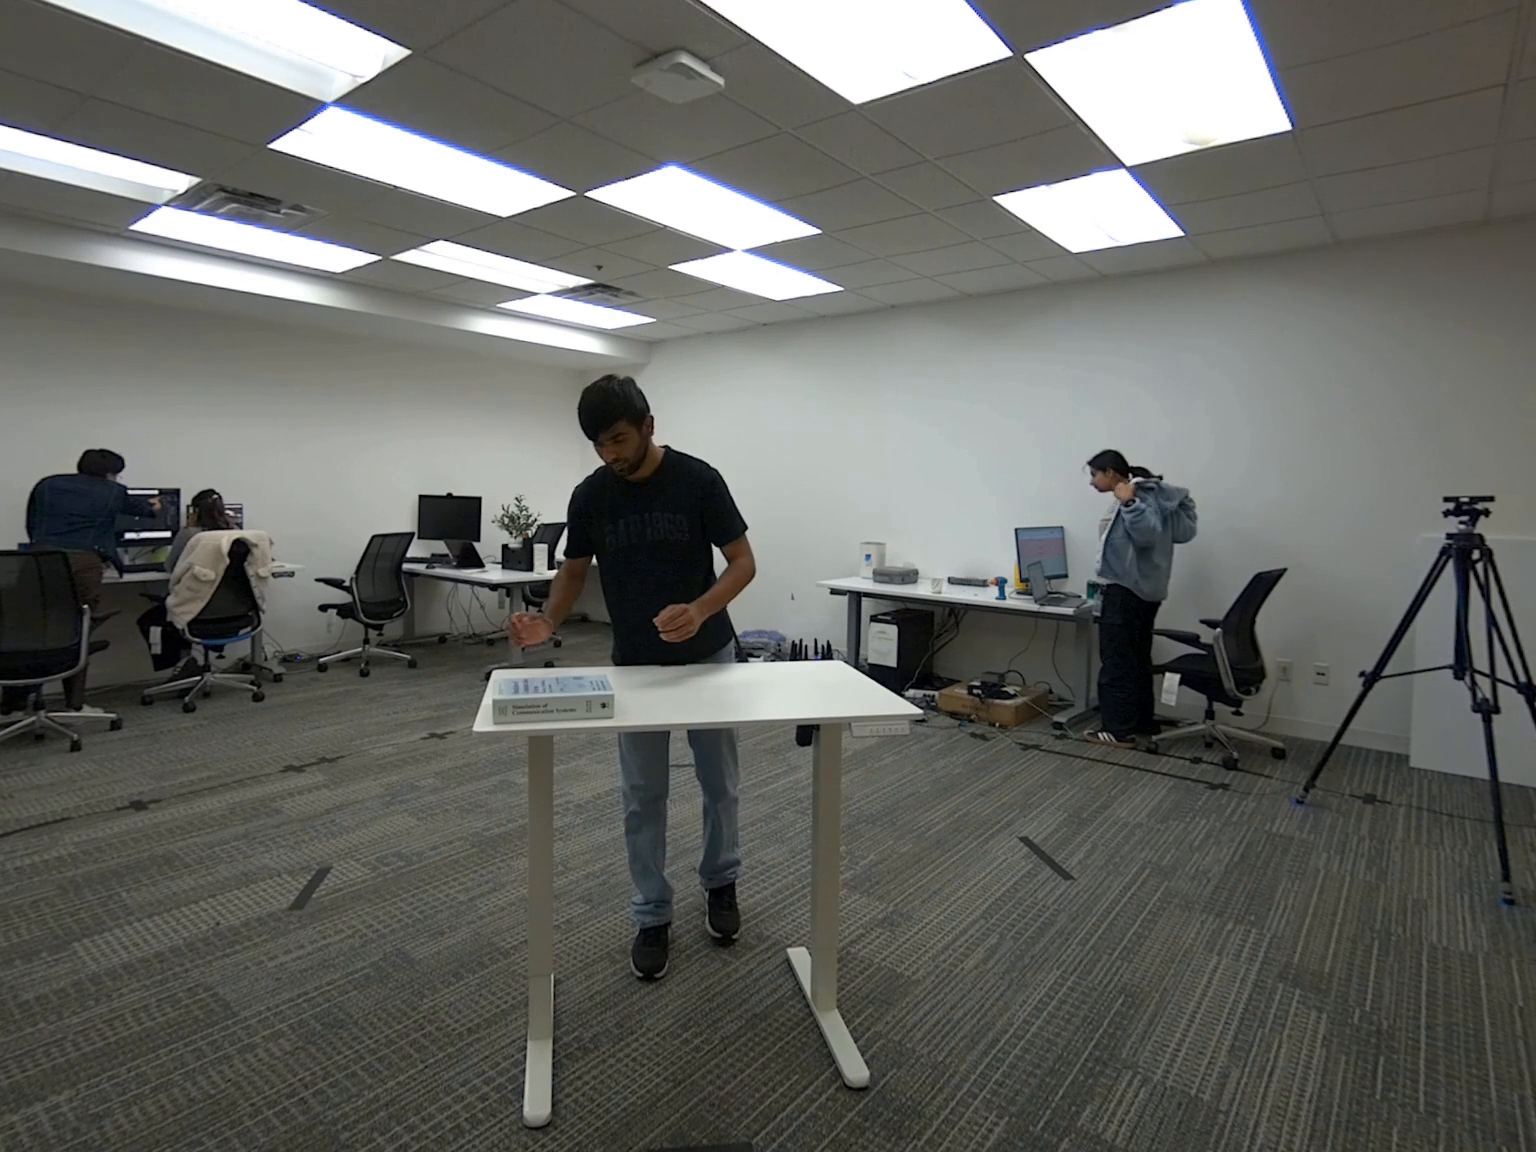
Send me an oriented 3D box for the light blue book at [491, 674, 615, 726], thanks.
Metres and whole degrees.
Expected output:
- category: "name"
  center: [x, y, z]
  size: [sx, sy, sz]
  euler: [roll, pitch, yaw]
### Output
- category: "light blue book"
  center: [-0.491, 0.272, 1.932]
  size: [0.257, 0.059, 0.195]
  euler: [-1, 7, -15]
